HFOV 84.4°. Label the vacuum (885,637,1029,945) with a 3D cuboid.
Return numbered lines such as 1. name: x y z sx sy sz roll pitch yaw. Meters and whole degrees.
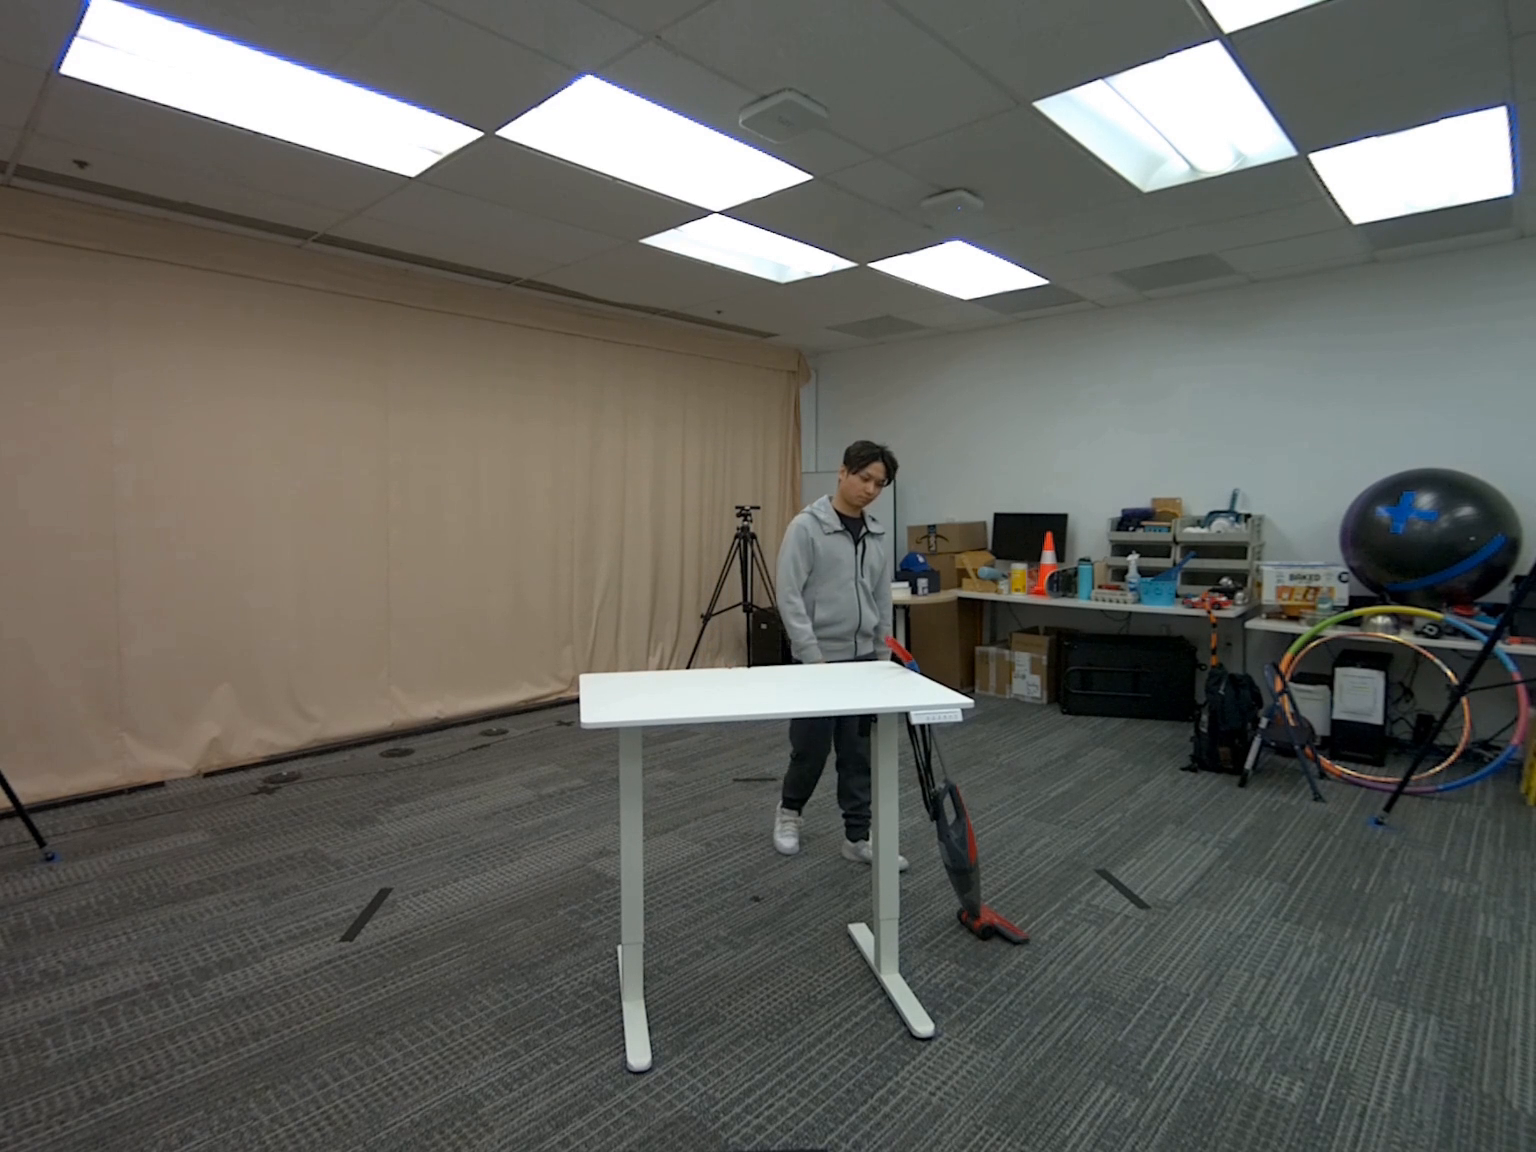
1. vacuum: 0.560 0.685 2.674 0.142 1.038 0.259 -25 12 -24
